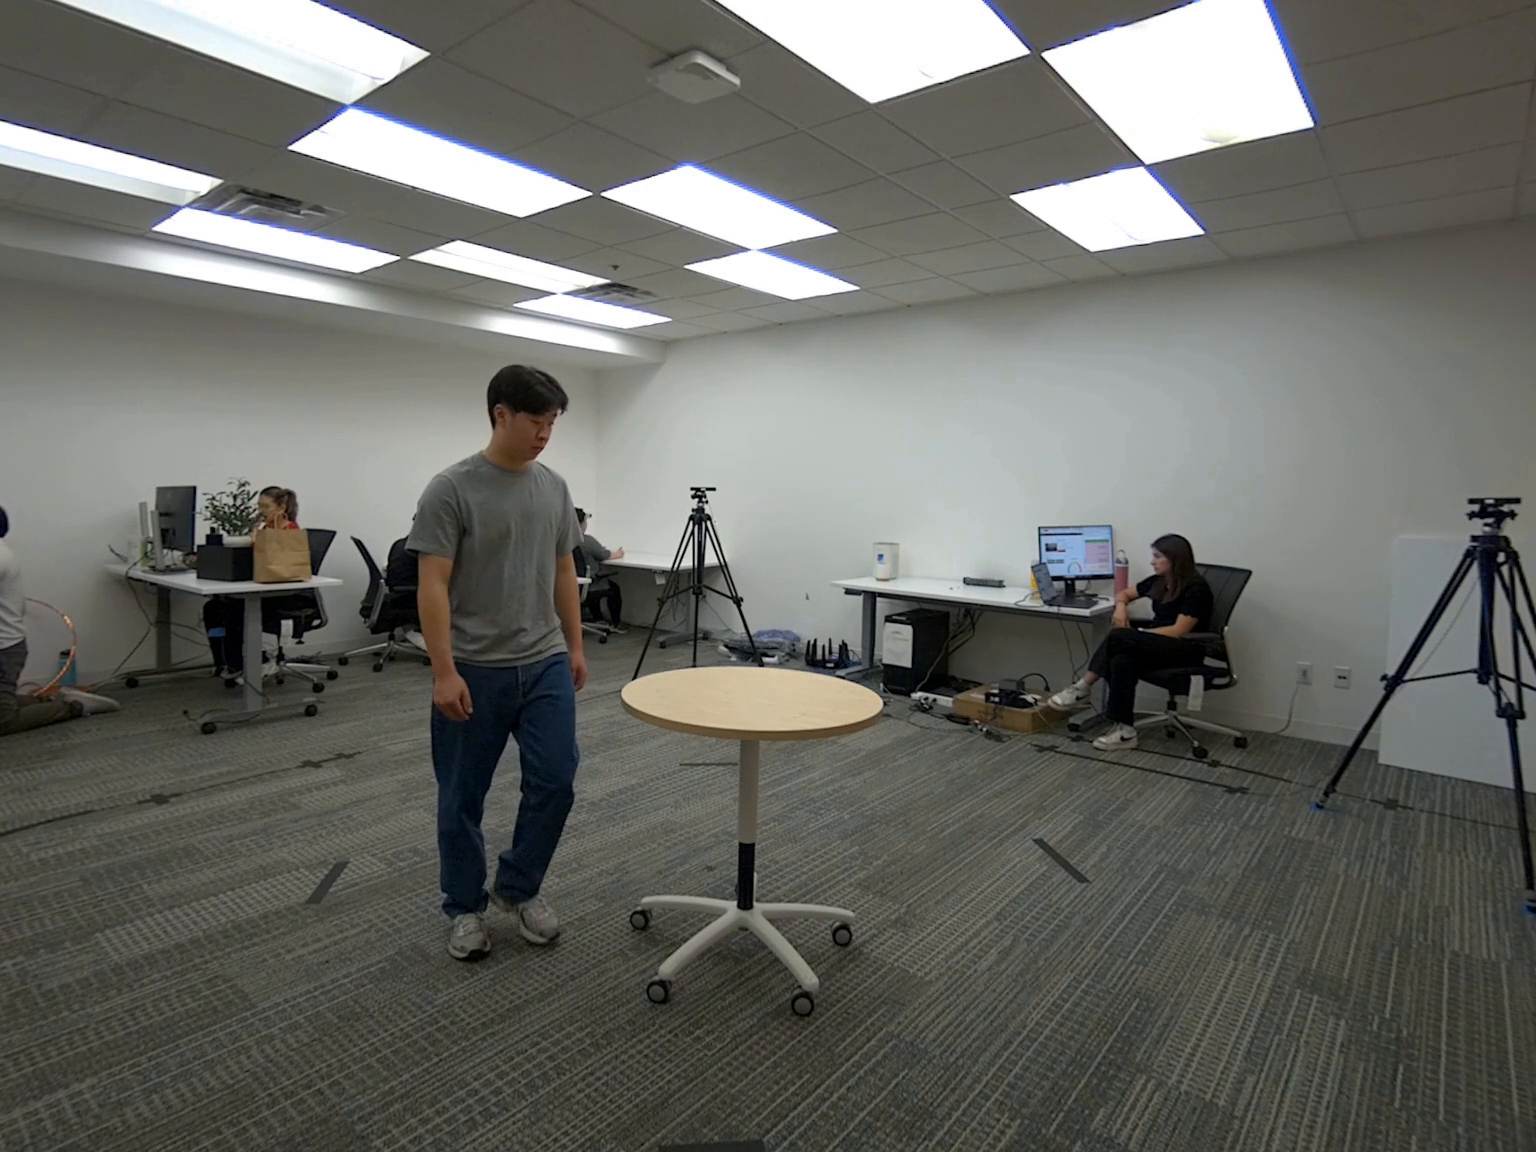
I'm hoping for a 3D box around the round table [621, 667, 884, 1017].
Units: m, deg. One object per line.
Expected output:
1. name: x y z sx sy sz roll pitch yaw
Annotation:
1. round table: -0.070 0.741 2.527 0.763 0.791 0.768 1 5 -2
